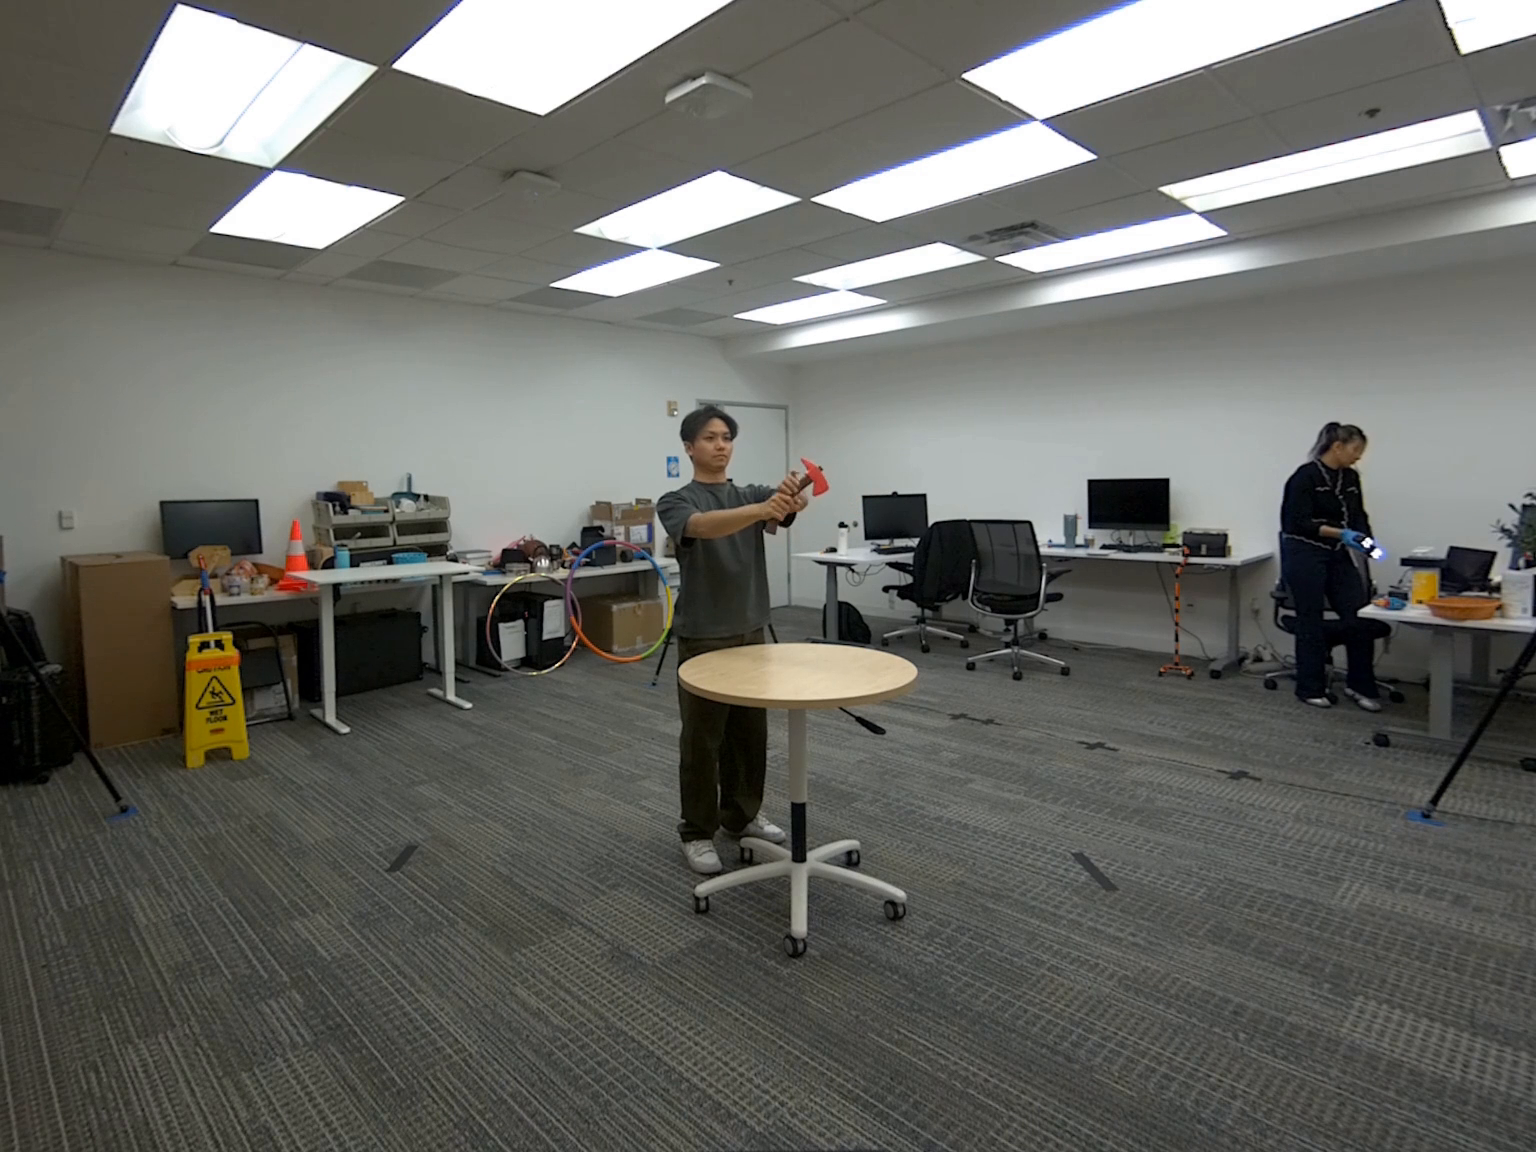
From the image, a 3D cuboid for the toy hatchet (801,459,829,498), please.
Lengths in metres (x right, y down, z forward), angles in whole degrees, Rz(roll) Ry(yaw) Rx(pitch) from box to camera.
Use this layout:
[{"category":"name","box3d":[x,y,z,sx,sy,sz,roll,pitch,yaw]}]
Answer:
[{"category":"toy hatchet","box3d":[0.099,-0.241,2.733,0.128,0.270,0.030,29,-4,-15]}]
